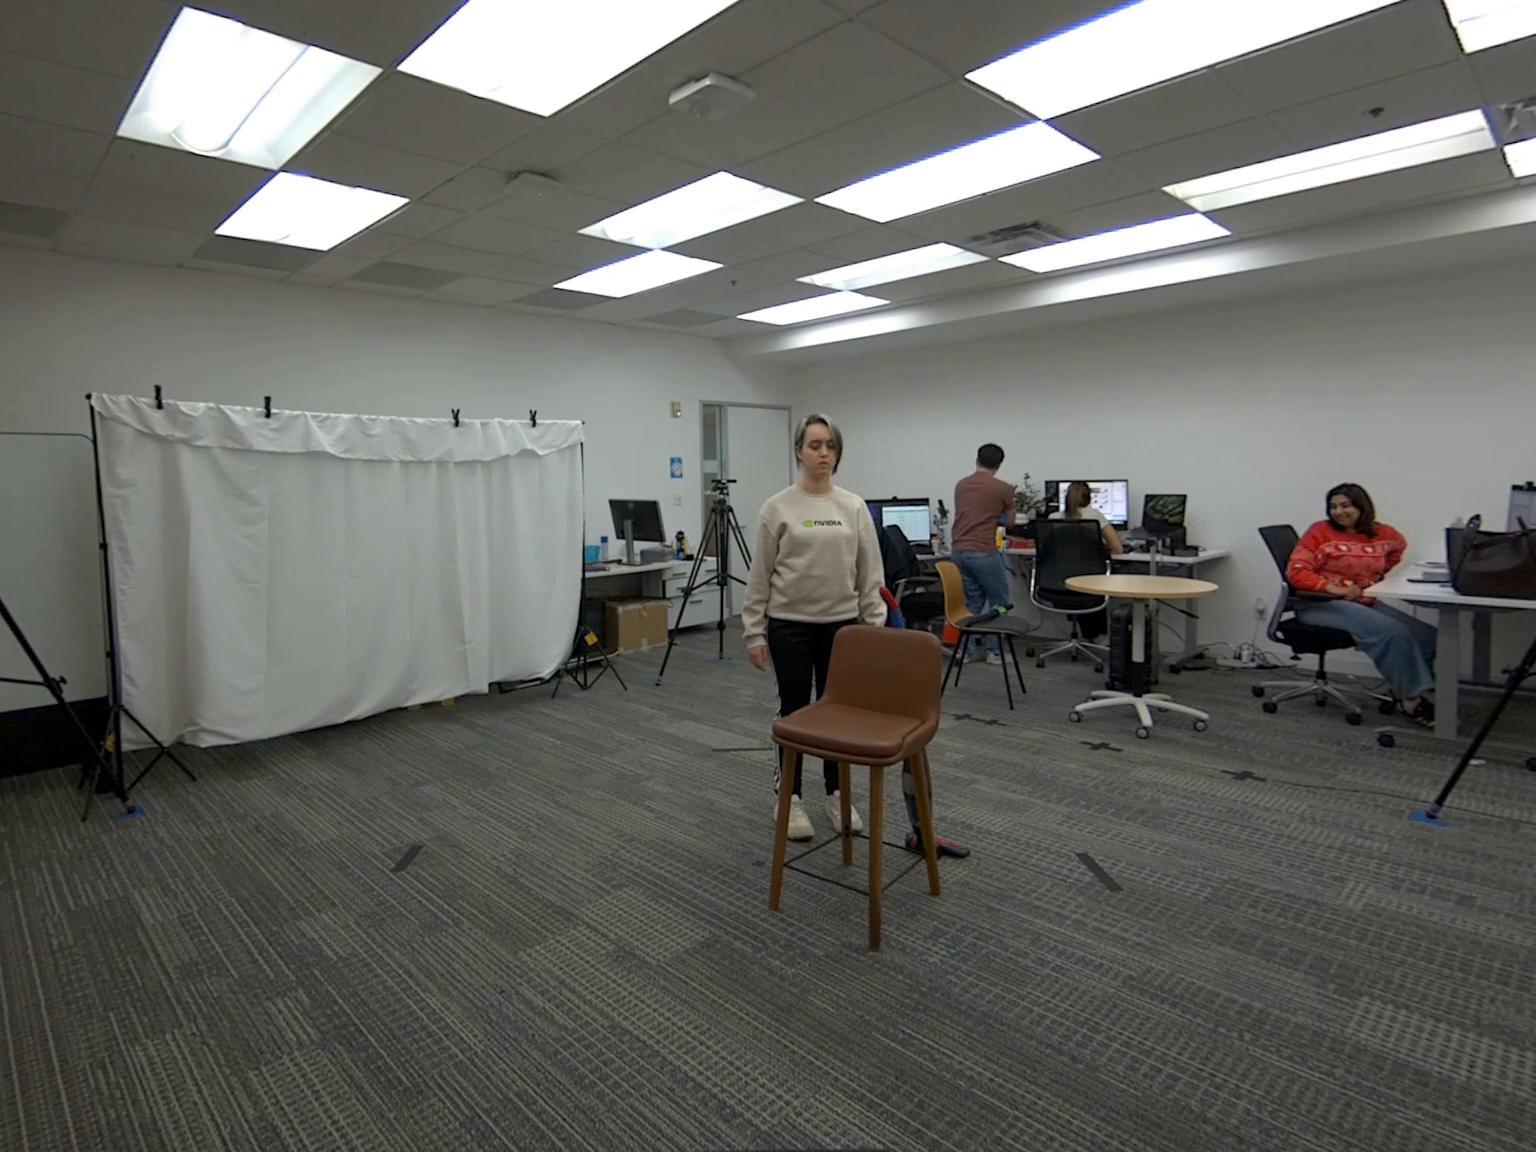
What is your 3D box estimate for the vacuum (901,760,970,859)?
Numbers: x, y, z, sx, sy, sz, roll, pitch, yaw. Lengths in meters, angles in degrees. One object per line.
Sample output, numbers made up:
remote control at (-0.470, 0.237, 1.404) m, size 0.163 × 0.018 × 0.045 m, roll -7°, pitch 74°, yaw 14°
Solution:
vacuum at (0.526, 0.546, 3.073) m, size 0.261 × 1.032 × 0.142 m, roll 6°, pitch 22°, yaw 43°
